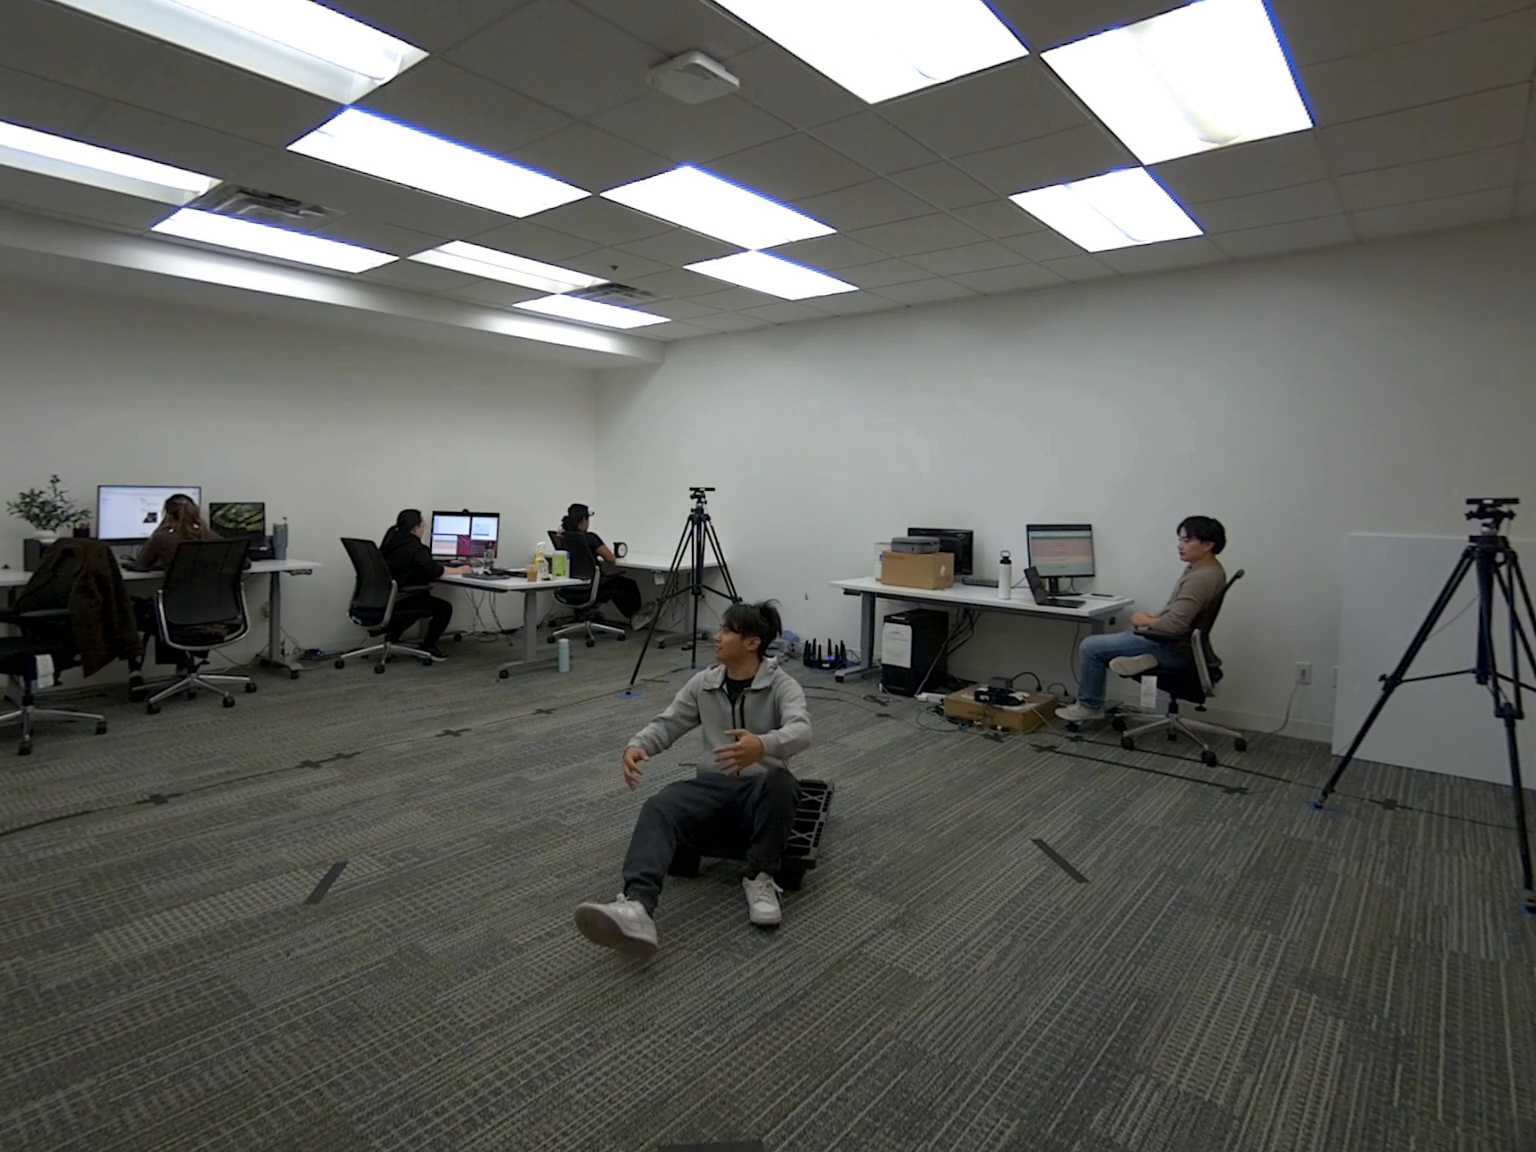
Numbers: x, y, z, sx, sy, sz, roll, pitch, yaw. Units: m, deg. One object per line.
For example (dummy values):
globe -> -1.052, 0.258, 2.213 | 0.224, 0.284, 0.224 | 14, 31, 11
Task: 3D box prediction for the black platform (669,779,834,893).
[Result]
black platform -> -0.078, 0.973, 3.344 | 0.613, 0.143, 0.798 | 1, 5, 10
